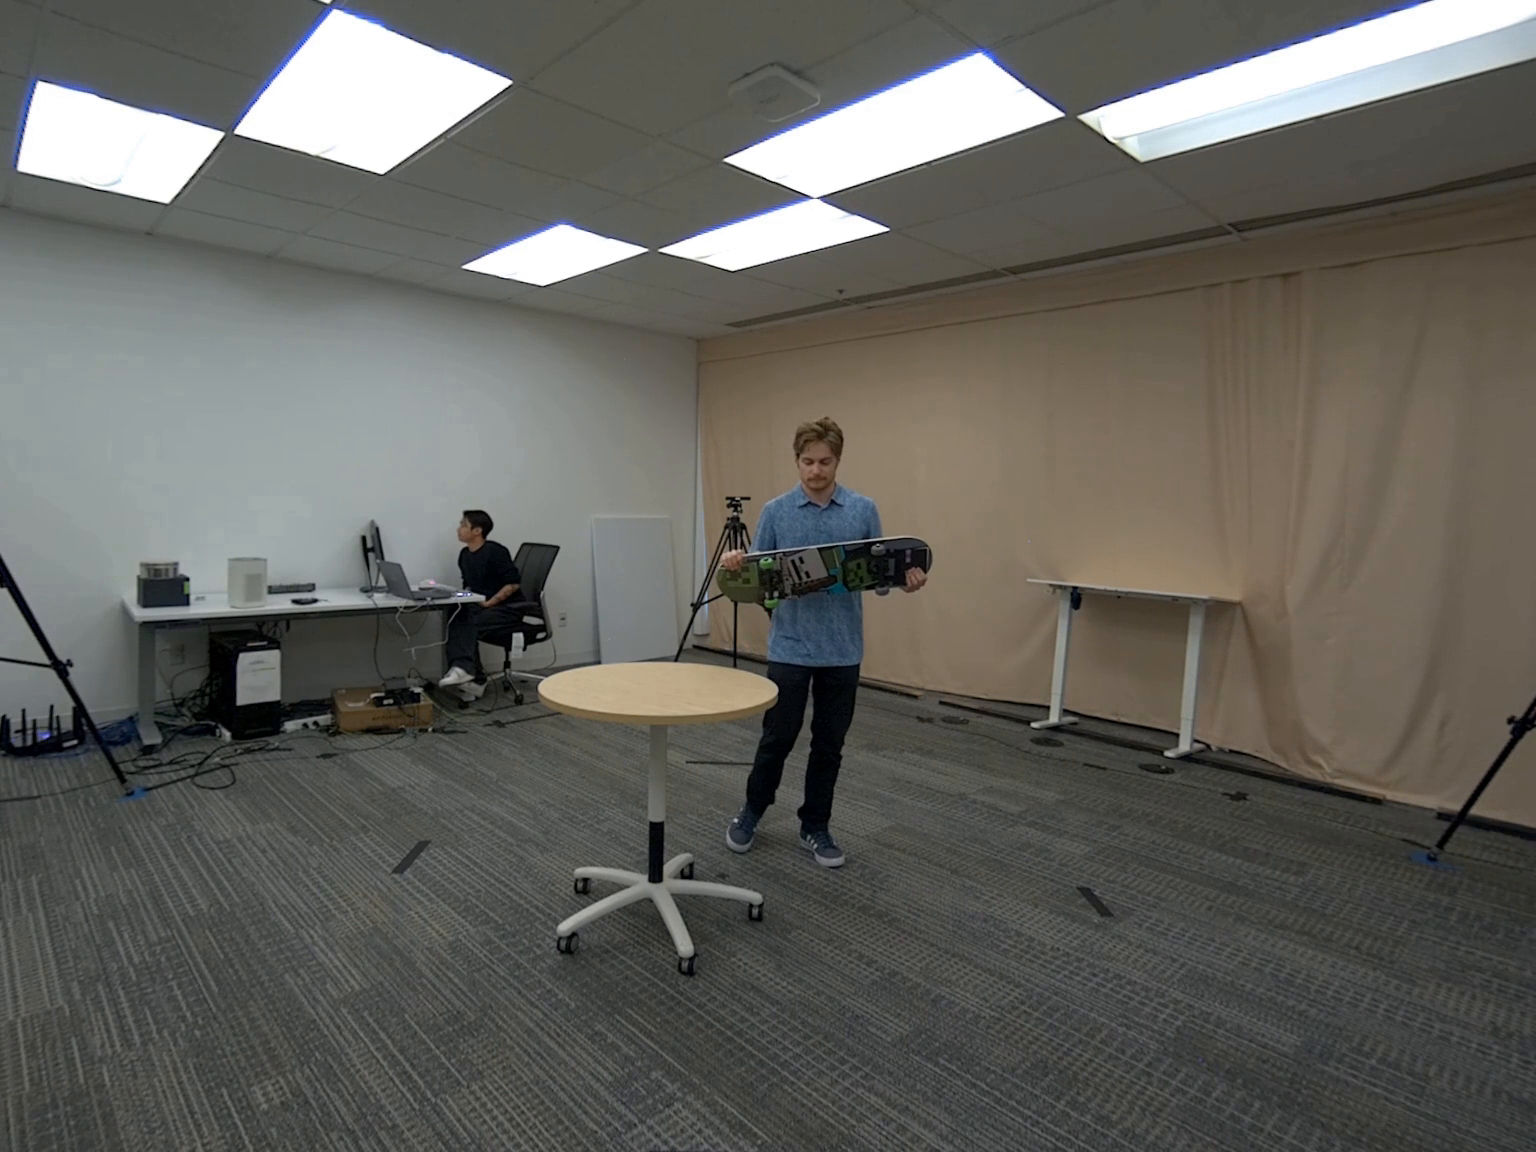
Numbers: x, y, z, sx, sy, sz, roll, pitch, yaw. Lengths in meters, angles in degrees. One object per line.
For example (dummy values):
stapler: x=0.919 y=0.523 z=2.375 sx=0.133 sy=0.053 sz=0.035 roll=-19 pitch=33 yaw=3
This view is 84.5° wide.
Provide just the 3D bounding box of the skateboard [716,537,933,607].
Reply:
skateboard: x=0.189 y=-0.006 z=3.023 sx=0.788 sy=0.190 sz=0.112 roll=-6 pitch=22 yaw=5
